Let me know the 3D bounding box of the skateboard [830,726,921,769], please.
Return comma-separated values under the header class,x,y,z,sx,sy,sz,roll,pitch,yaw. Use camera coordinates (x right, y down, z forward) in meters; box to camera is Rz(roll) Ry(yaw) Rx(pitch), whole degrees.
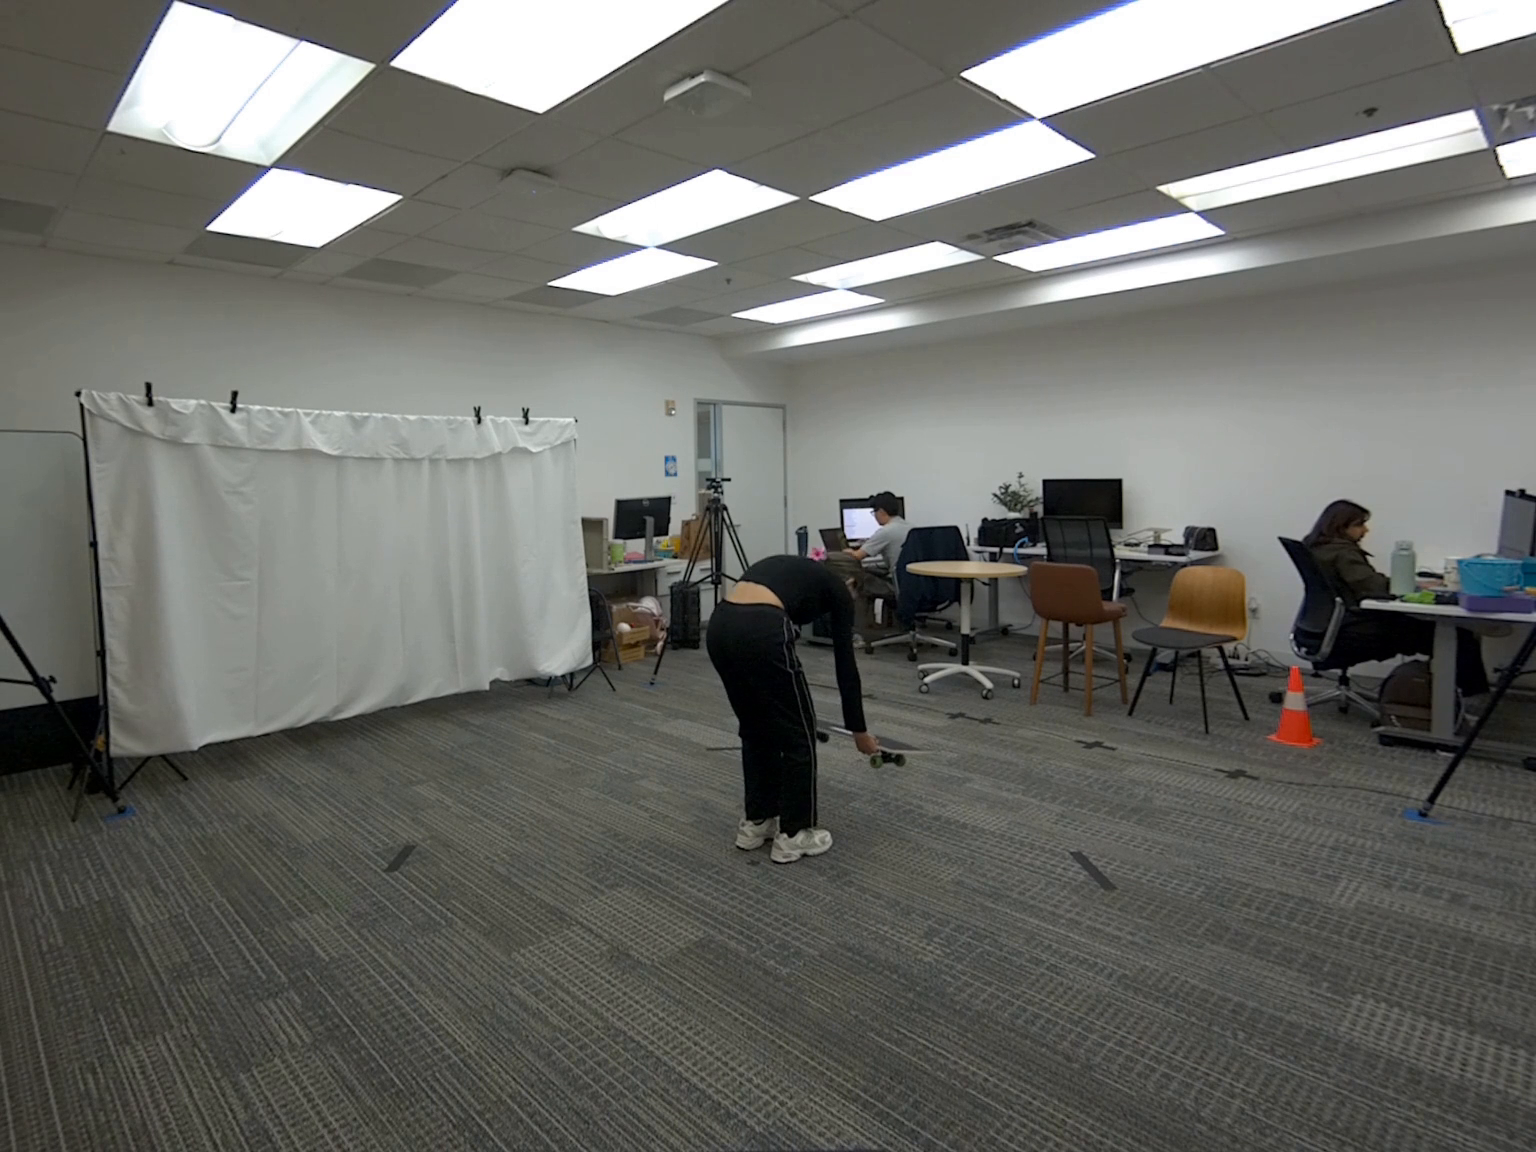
class,x,y,z,sx,sy,sz,roll,pitch,yaw
skateboard,0.340,0.664,3.474,0.187,0.110,0.810,8,-1,-44
